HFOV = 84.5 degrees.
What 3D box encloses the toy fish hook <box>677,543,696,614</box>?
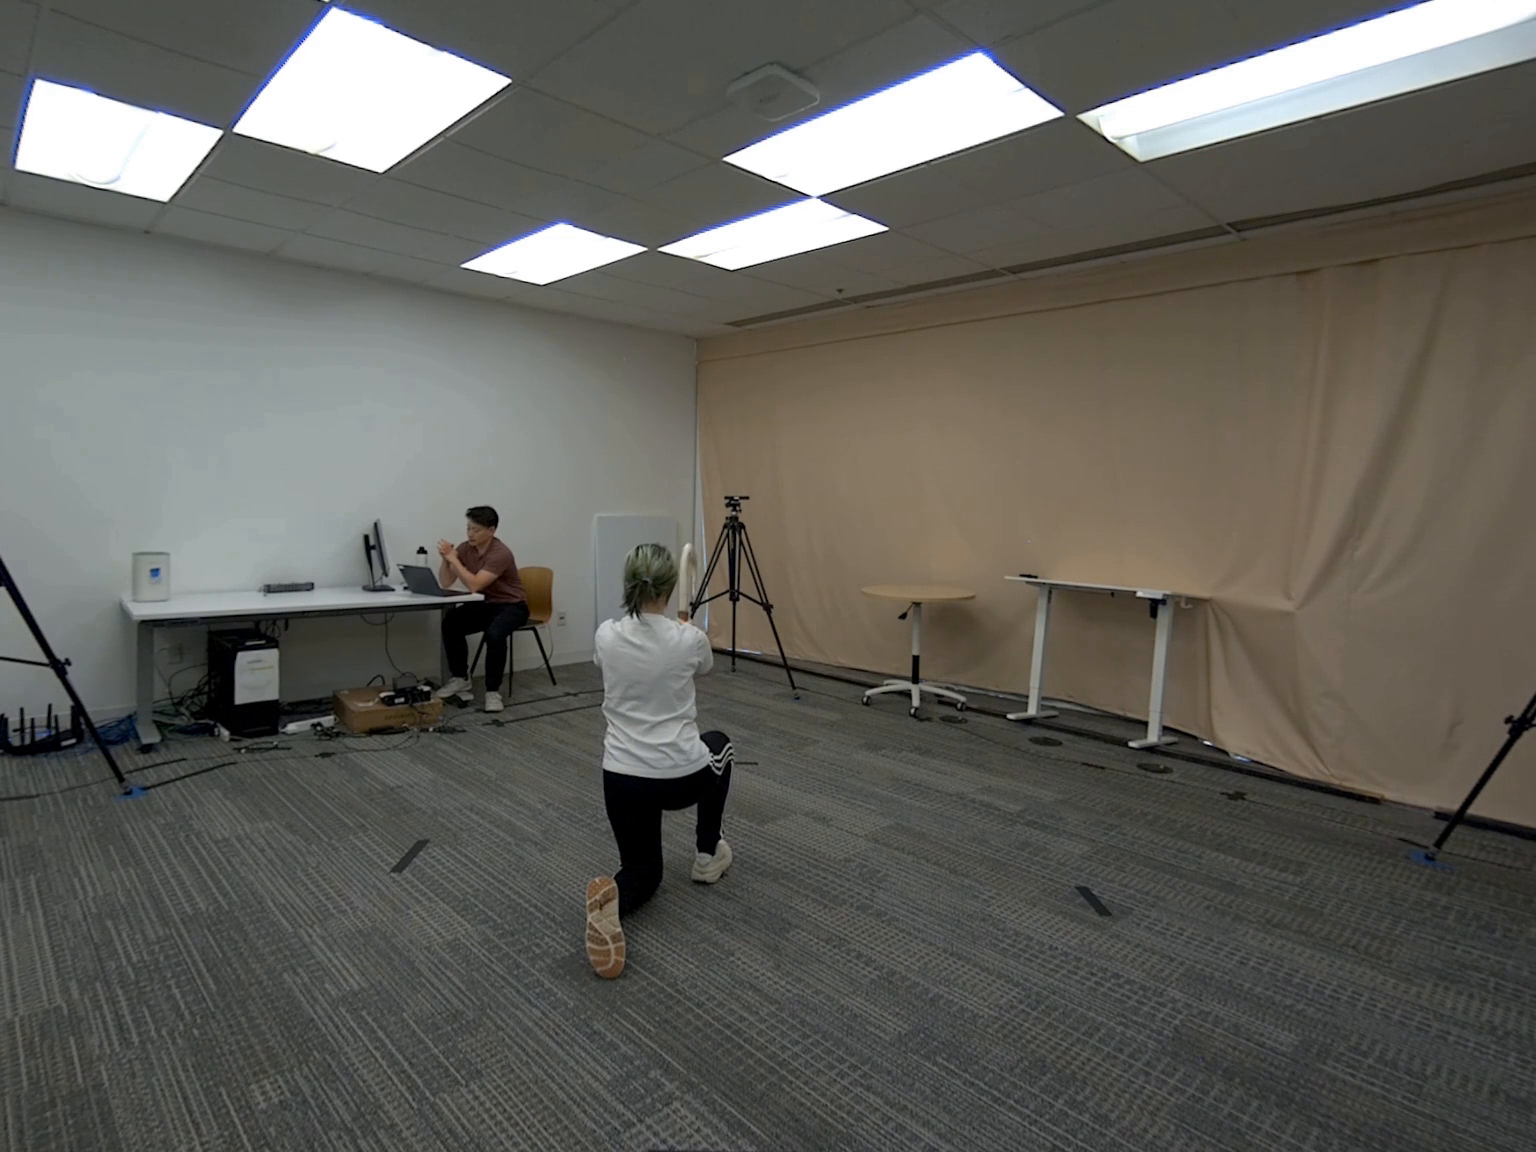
[{"bbox_3d":[-0.346,0.120,3.514,0.049,0.513,0.219,-1,-20,13],"label":"toy fish hook"}]
